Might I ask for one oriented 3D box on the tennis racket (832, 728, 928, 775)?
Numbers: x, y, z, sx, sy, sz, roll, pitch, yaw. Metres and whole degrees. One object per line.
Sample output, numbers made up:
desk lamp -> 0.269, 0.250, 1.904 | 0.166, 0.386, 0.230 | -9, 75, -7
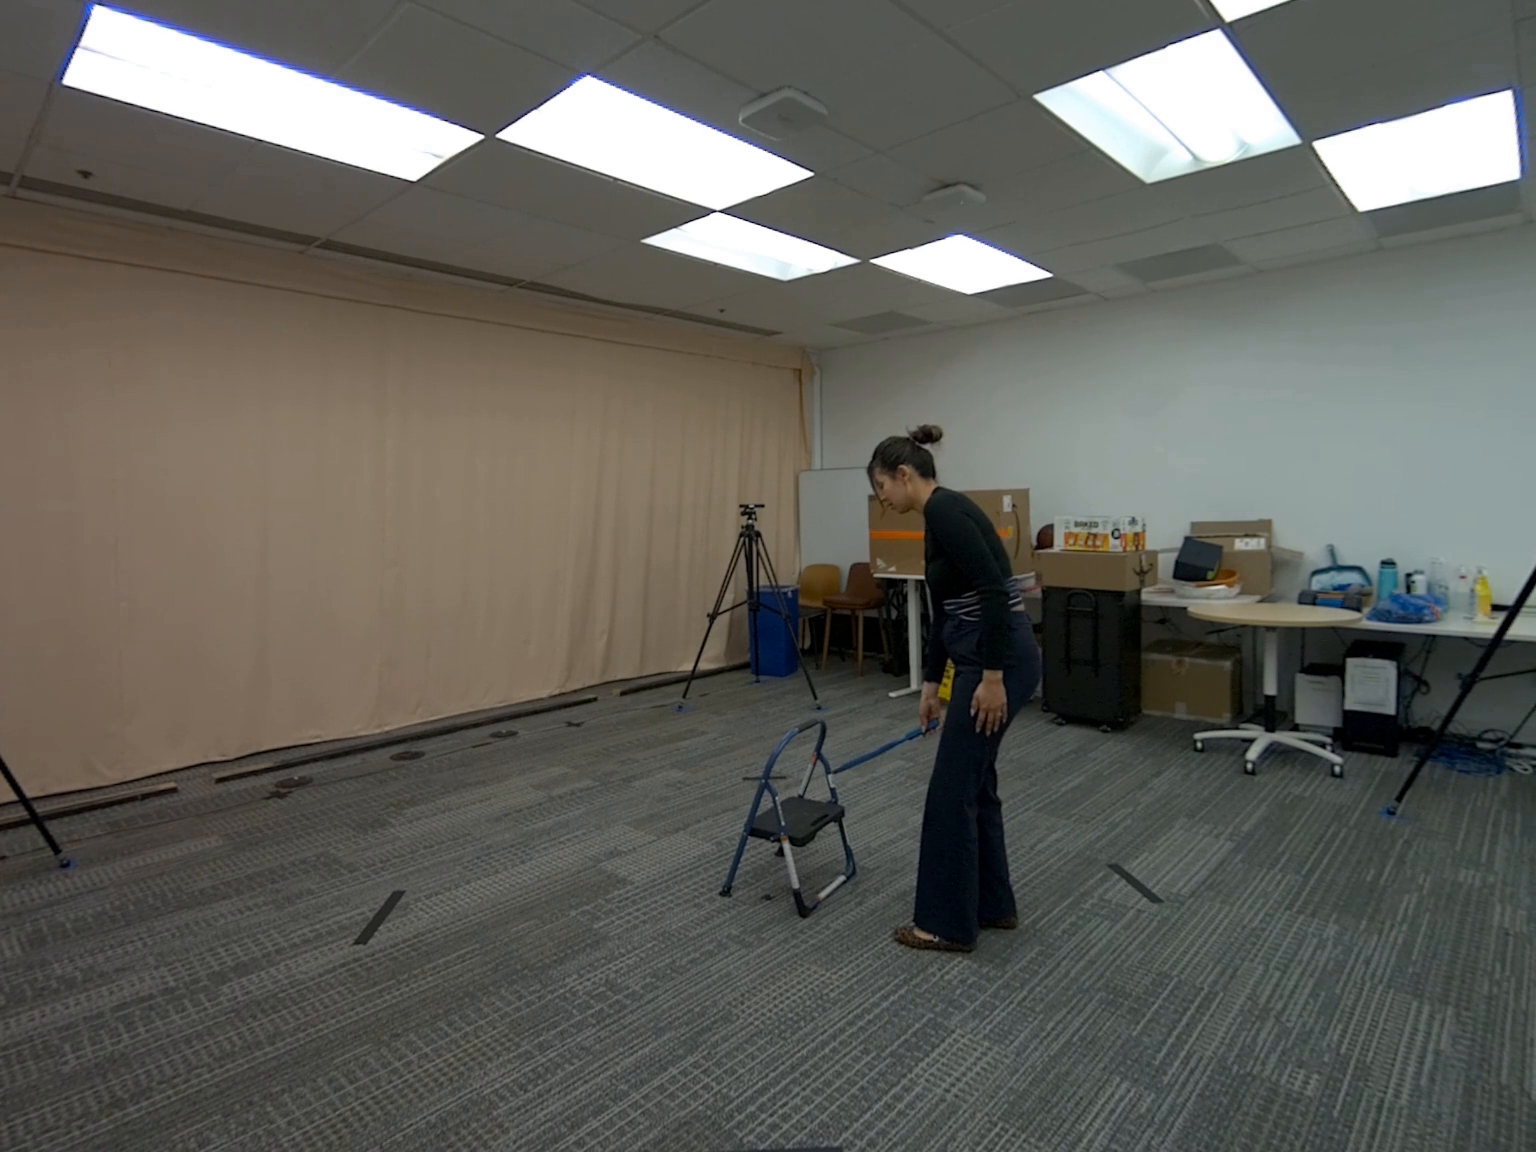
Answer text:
tennis racket -> 0.409, 0.612, 2.976 | 0.438, 0.032, 0.207 | -30, -21, 23
